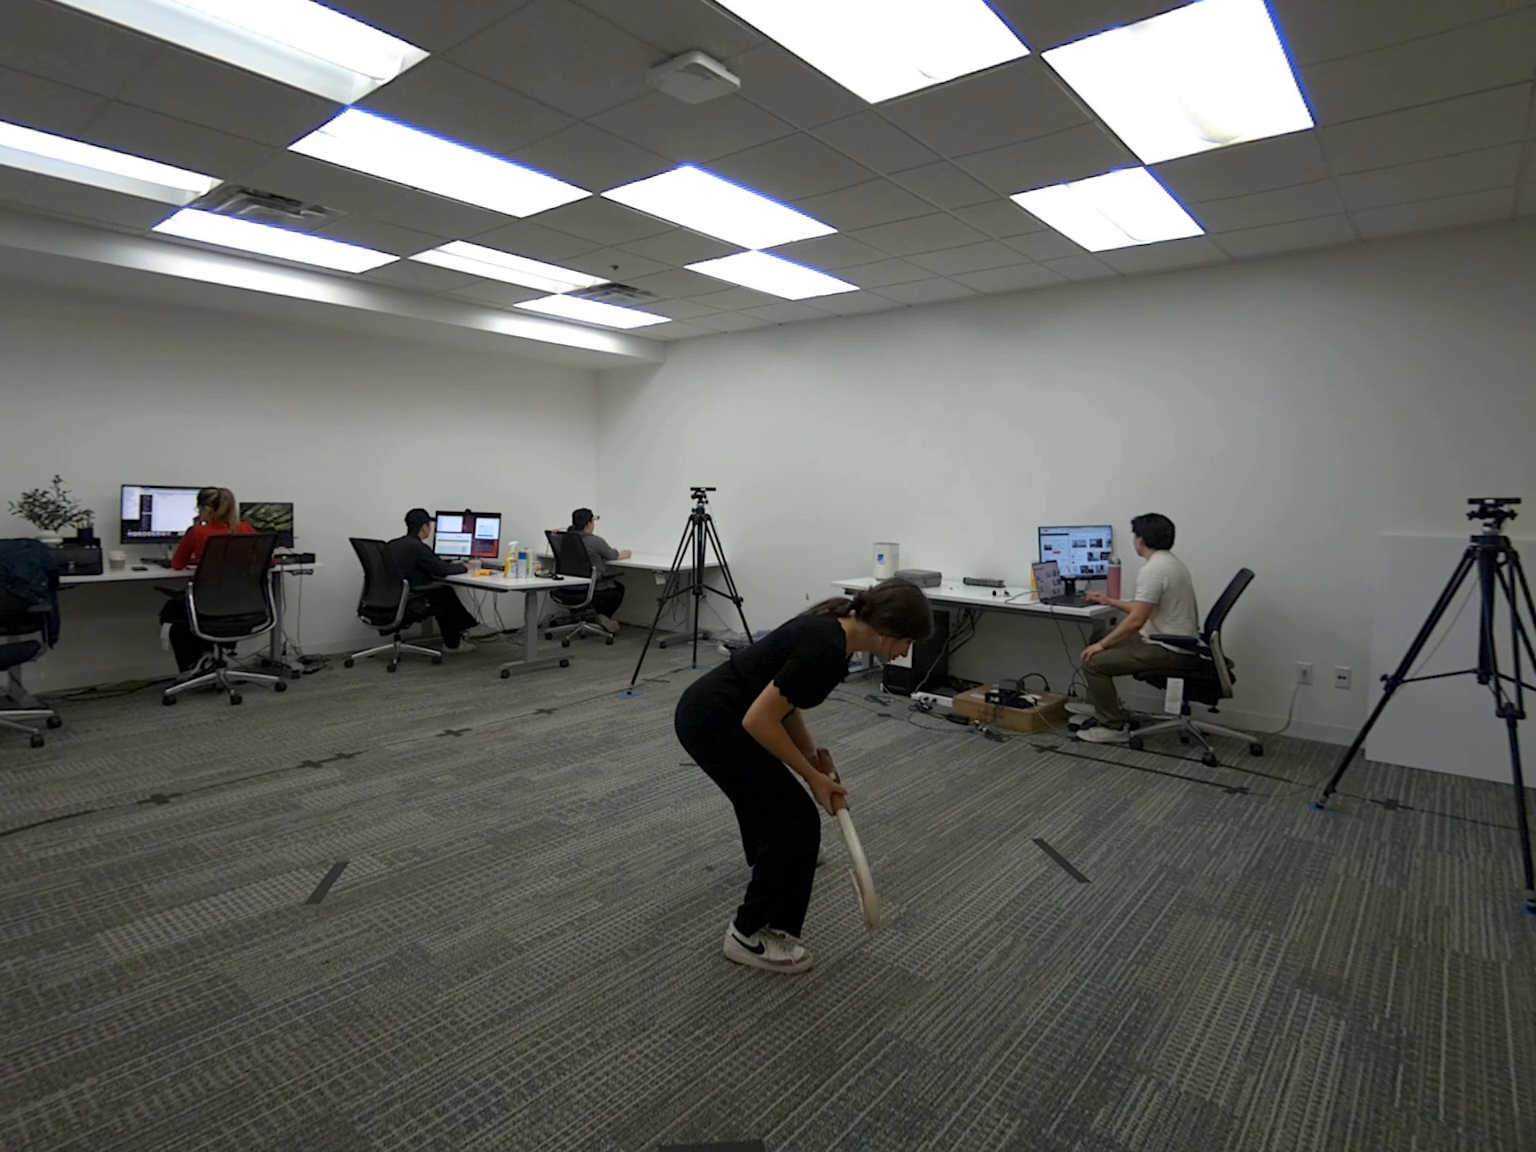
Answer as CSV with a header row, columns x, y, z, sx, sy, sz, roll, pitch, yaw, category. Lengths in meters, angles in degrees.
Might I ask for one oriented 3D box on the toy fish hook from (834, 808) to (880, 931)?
x,y,z,sx,sy,sz,roll,pitch,yaw,category
0.221,0.713,2.361,0.048,0.218,0.524,-4,47,-7,toy fish hook
